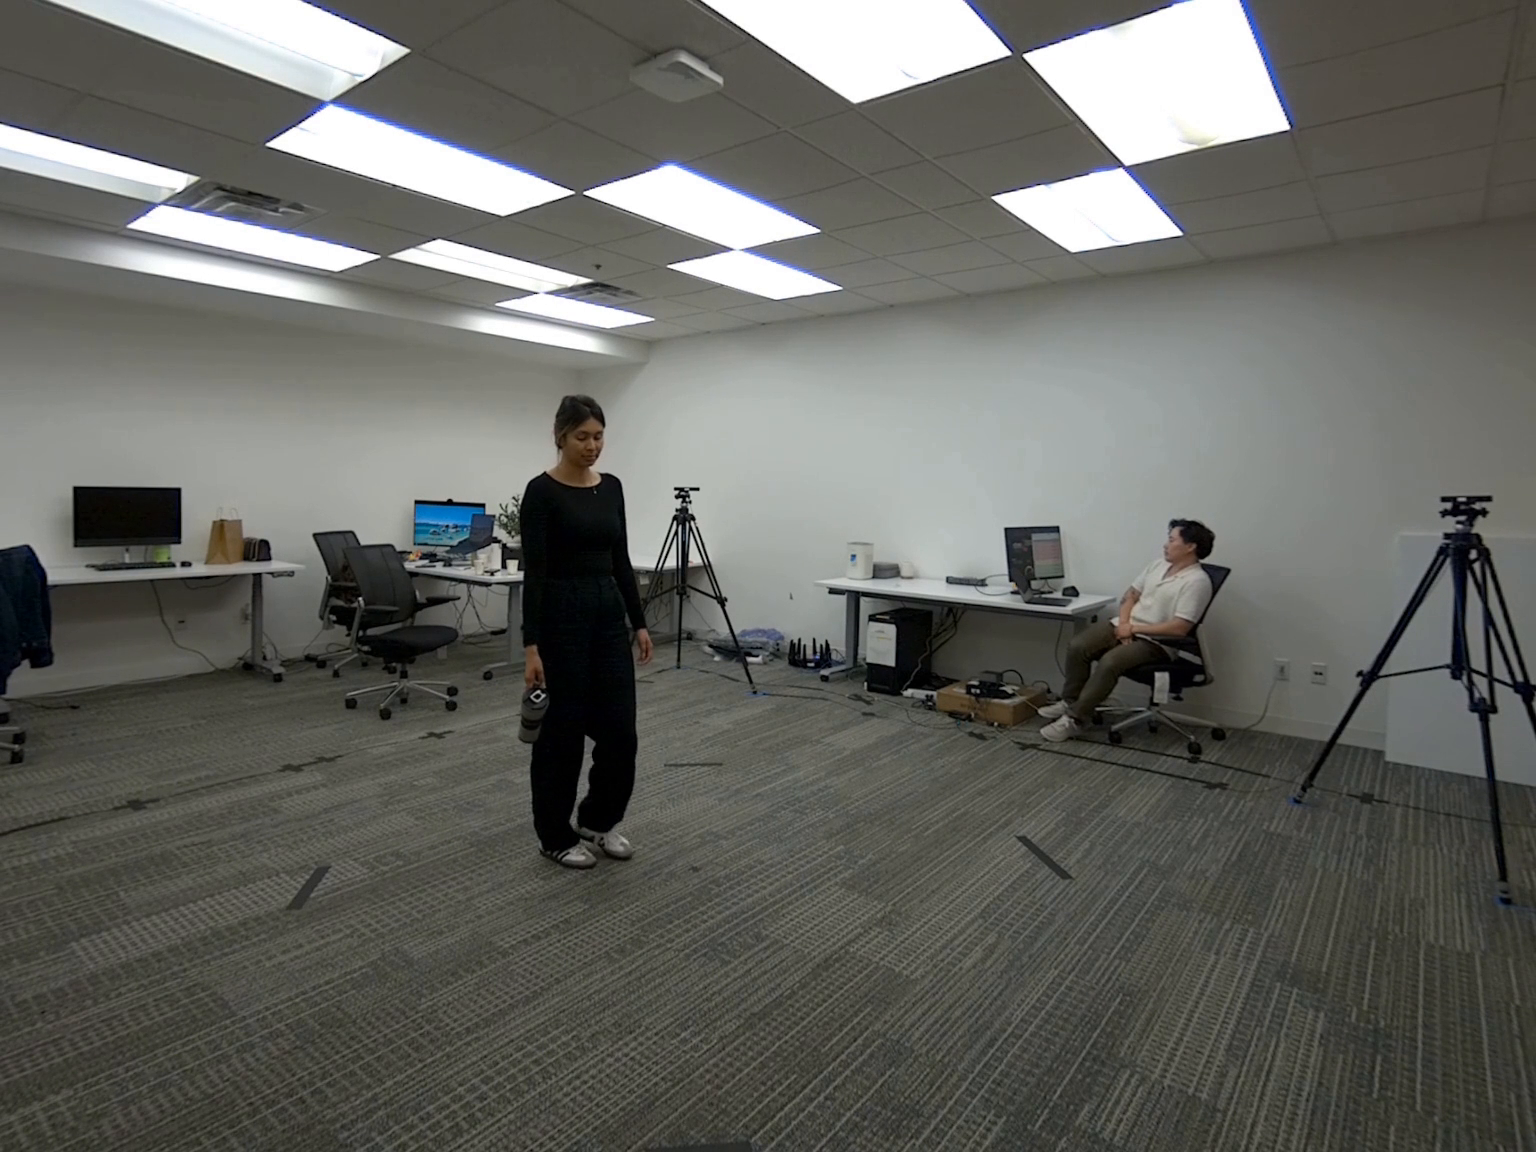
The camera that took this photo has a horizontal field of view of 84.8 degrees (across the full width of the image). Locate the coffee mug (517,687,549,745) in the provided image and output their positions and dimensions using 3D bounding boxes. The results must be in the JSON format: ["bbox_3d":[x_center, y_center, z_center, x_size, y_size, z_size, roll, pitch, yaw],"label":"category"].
[{"bbox_3d":[-0.822,0.464,2.859,0.086,0.198,0.127,-19,51,-30],"label":"coffee mug"}]
